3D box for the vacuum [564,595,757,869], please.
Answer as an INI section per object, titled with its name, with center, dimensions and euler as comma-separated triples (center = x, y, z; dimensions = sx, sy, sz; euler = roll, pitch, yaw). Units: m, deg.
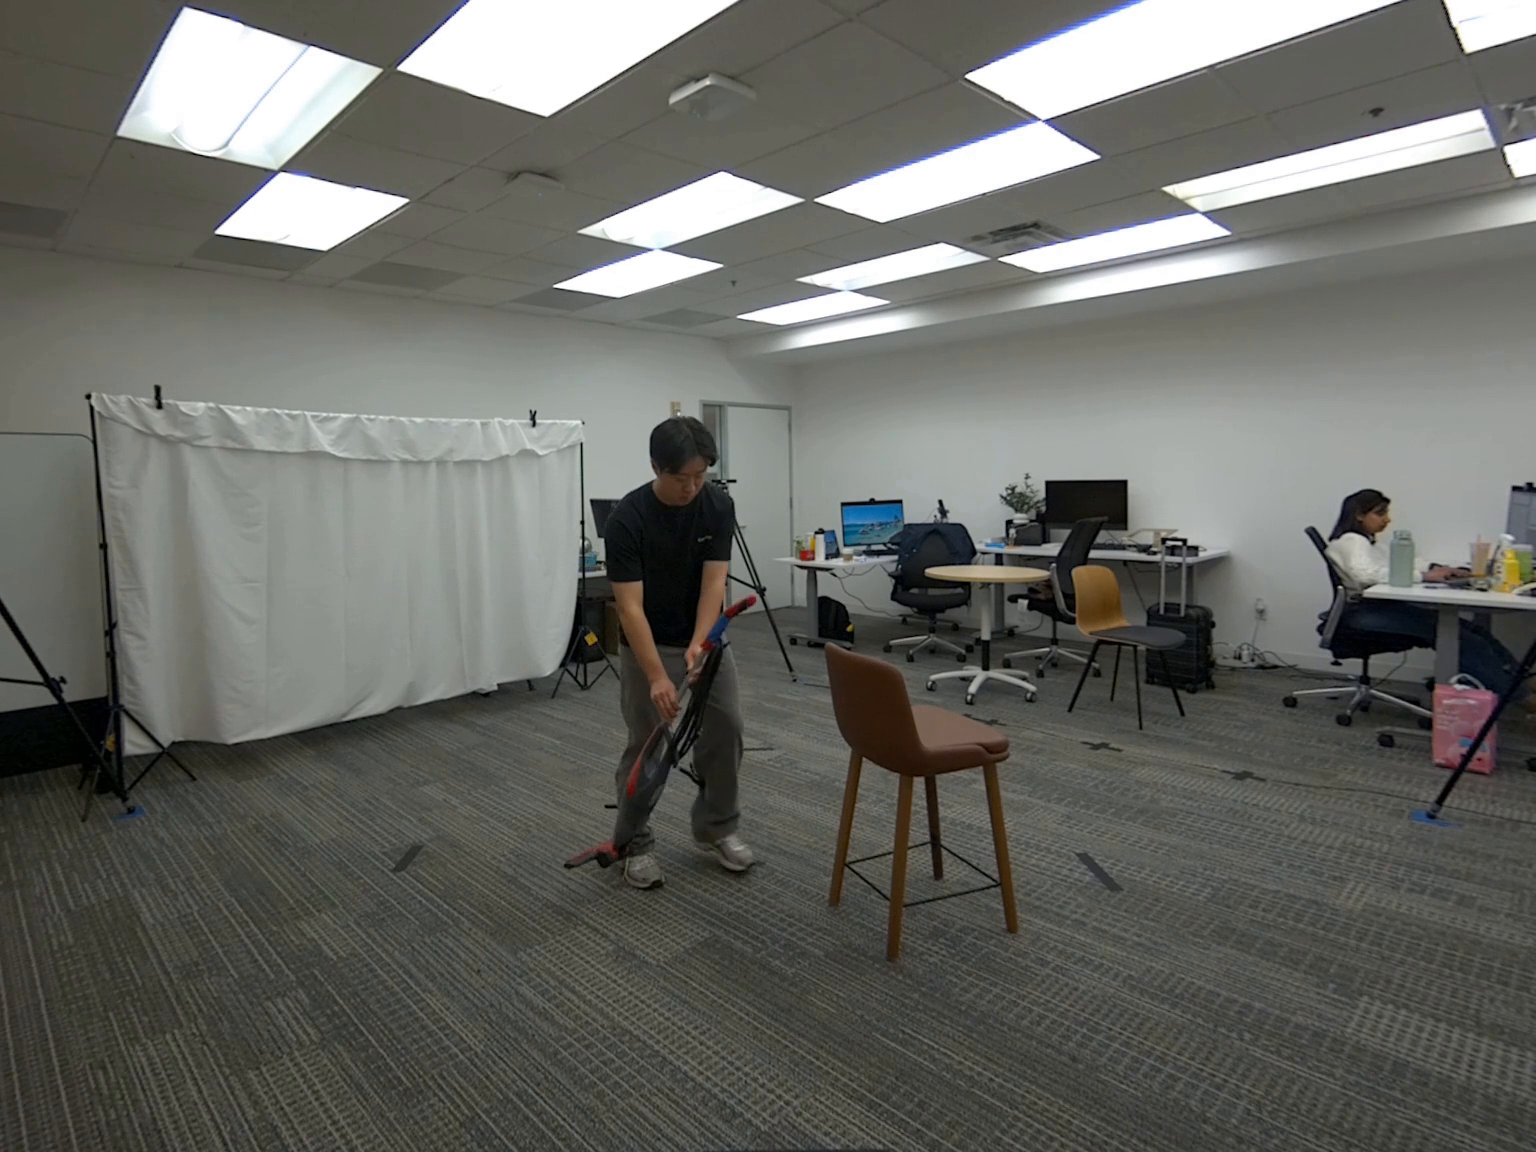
[vacuum]
center = -0.301, 0.509, 2.675
dimensions = 0.148, 1.043, 0.247
euler = 35, 17, 22
